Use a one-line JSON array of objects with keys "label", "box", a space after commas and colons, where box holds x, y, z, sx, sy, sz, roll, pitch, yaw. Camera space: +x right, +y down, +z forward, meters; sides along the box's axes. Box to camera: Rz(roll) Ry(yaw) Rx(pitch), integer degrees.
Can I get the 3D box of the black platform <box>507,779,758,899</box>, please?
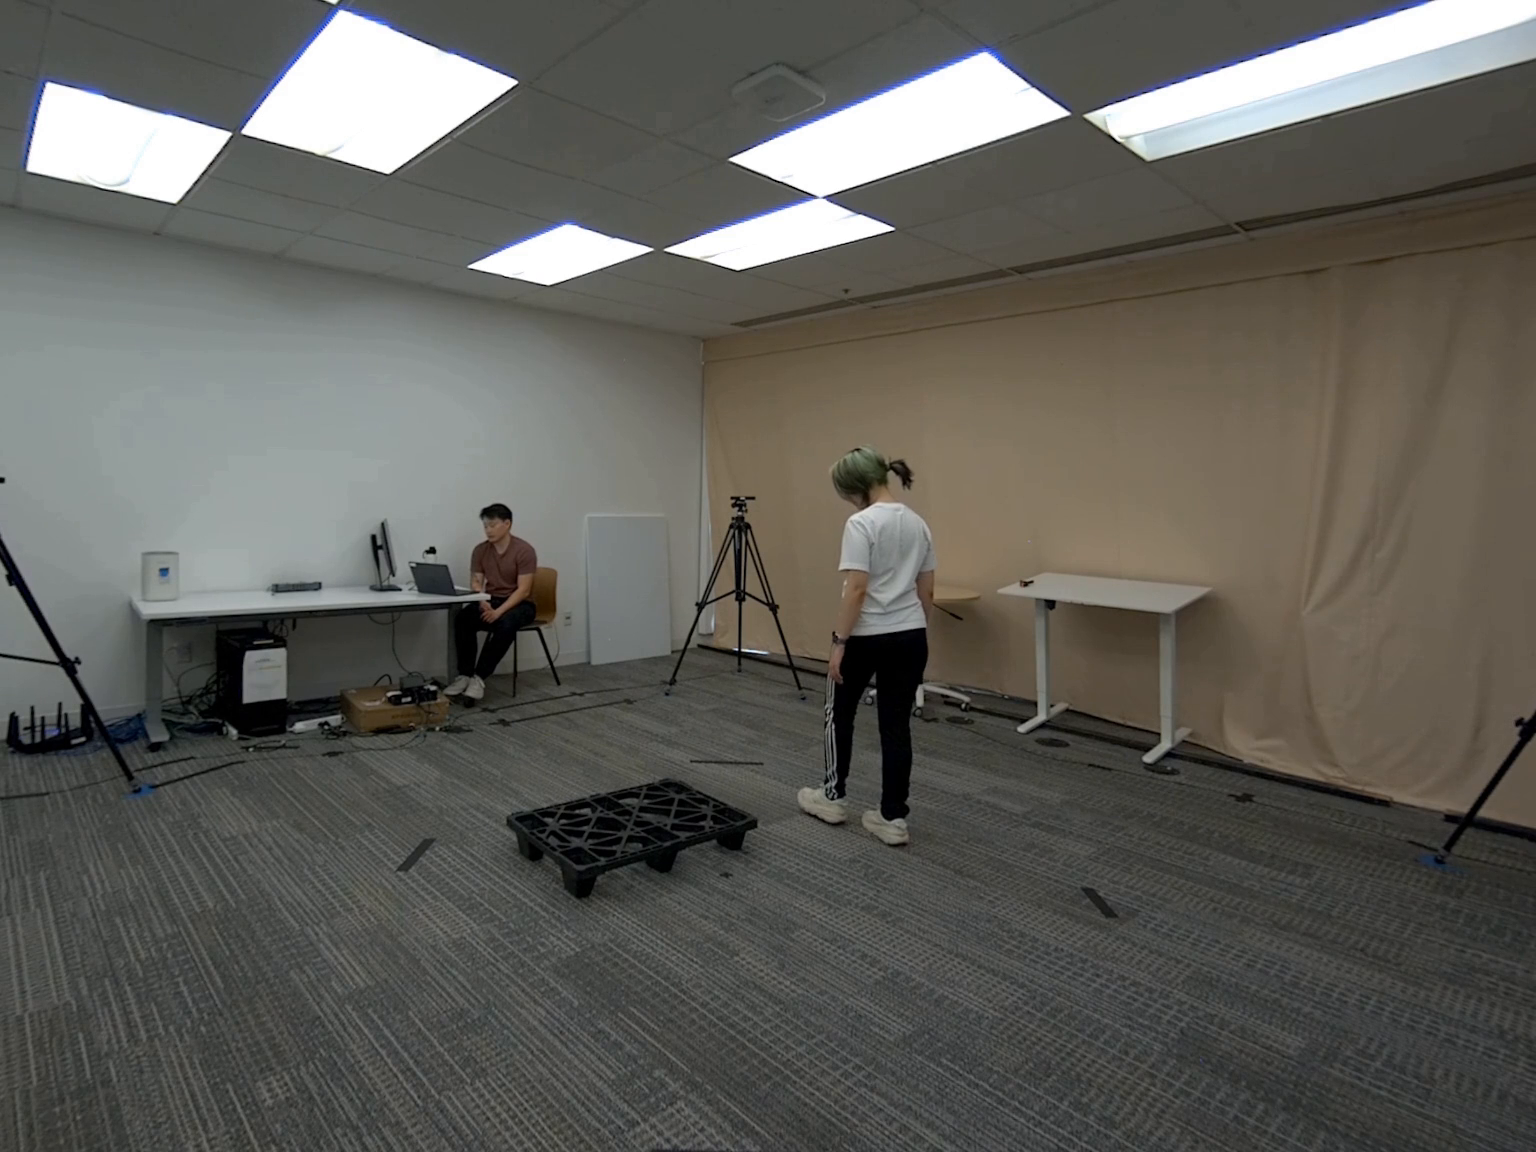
[{"label": "black platform", "box": [-0.543, 1.012, 3.296, 0.787, 0.143, 0.620, -3, 6, -40]}]
